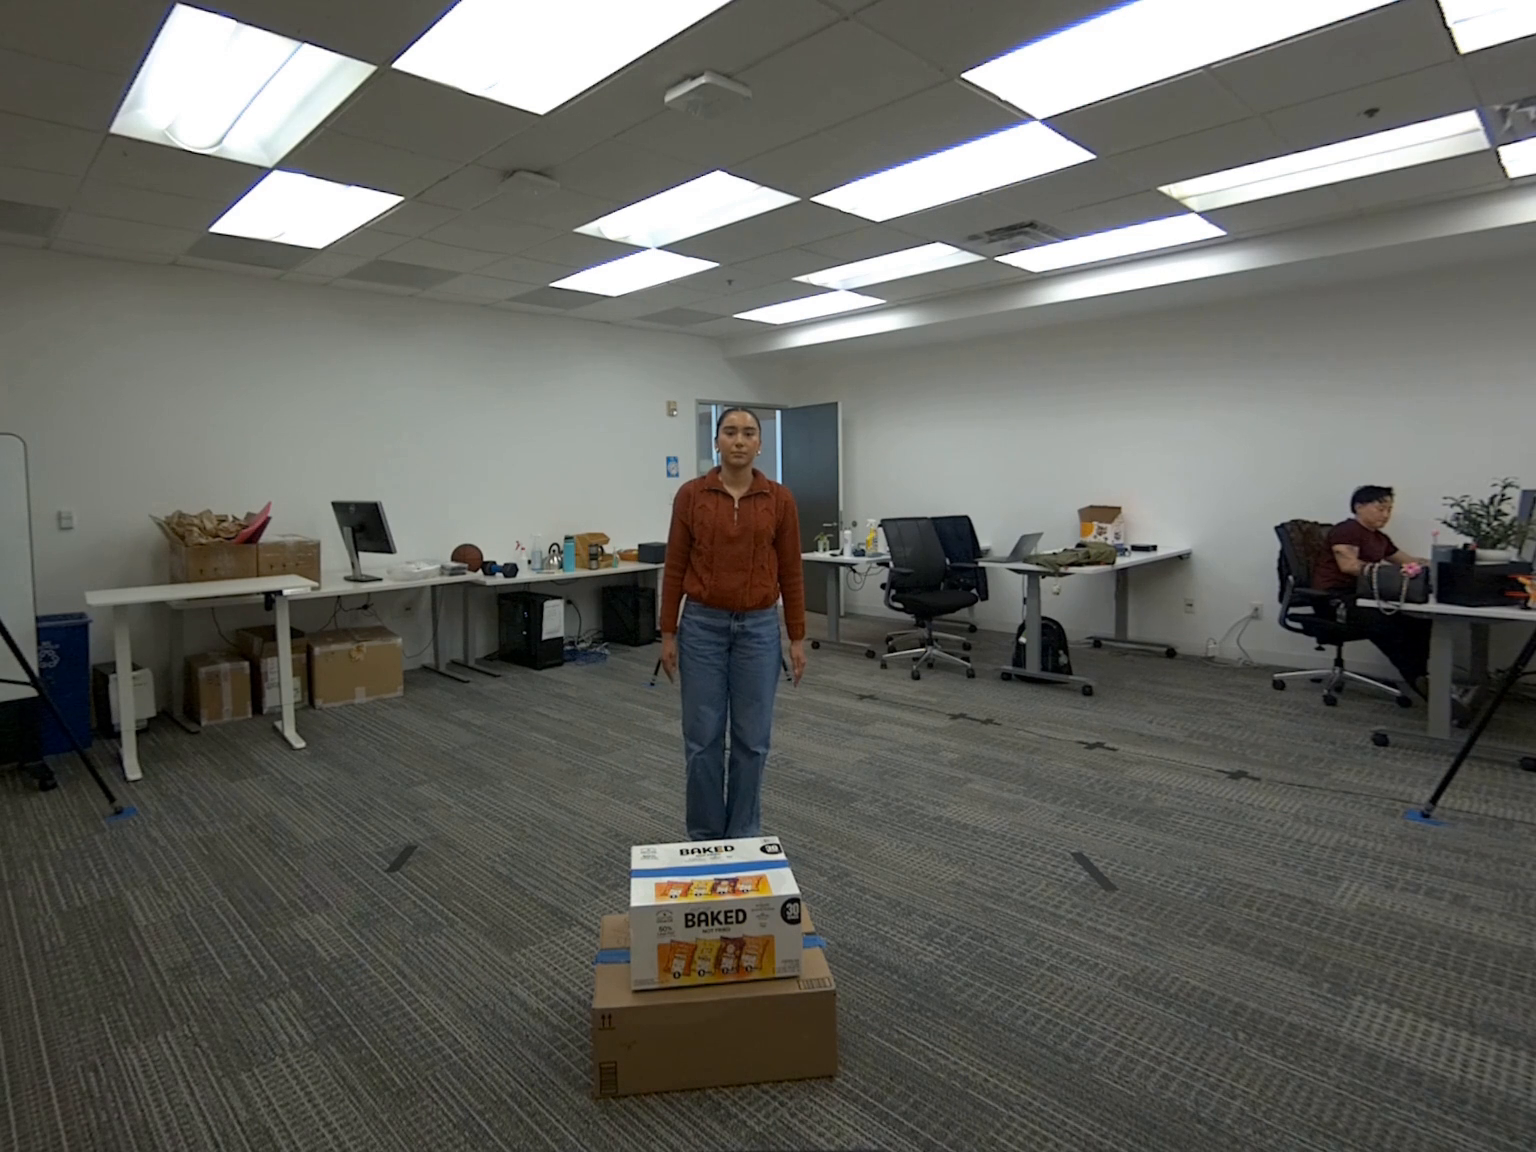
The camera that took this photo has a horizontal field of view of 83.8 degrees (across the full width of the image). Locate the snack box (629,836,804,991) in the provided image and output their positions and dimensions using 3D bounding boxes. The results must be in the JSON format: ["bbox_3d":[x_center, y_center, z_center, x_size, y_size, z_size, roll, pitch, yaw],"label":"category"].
[{"bbox_3d":[-0.144,0.843,2.156,0.403,0.205,0.344,-2,5,-7],"label":"snack box"}]
